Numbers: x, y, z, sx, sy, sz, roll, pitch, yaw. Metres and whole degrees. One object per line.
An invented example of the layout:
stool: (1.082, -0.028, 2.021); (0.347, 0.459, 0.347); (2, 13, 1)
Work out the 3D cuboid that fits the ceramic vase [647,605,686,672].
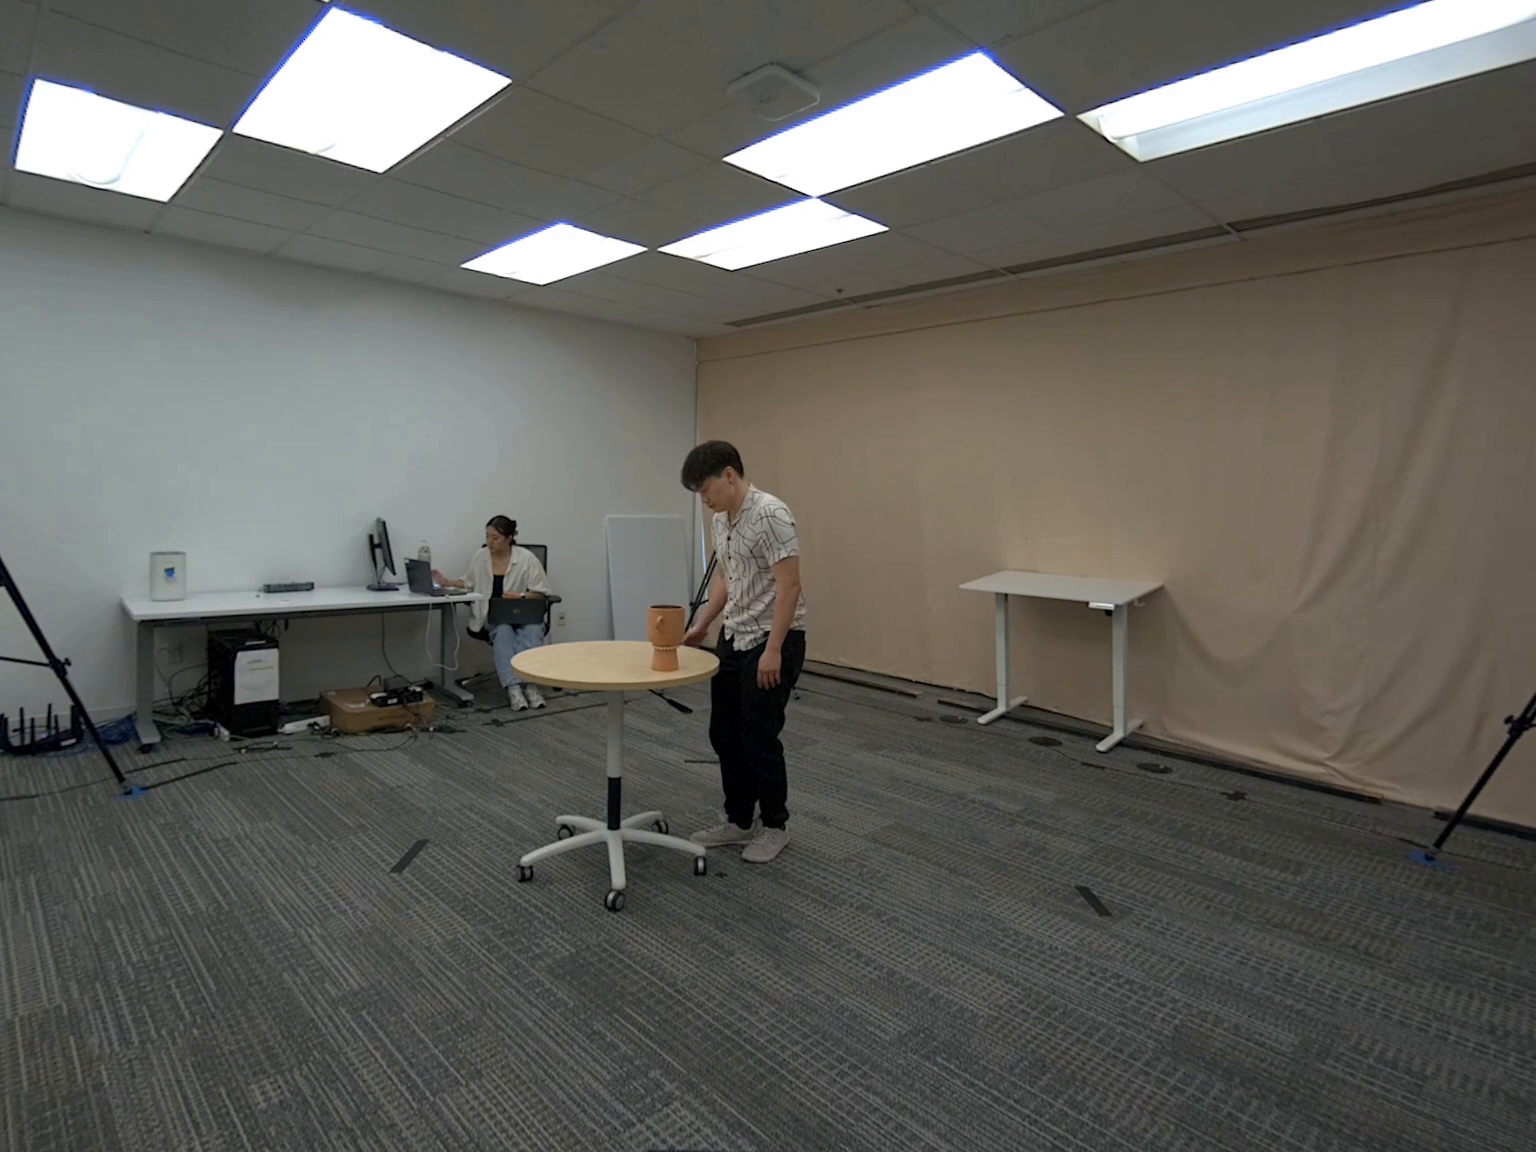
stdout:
ceramic vase: (-0.370, 0.221, 2.975); (0.155, 0.219, 0.138); (-1, 6, -38)
